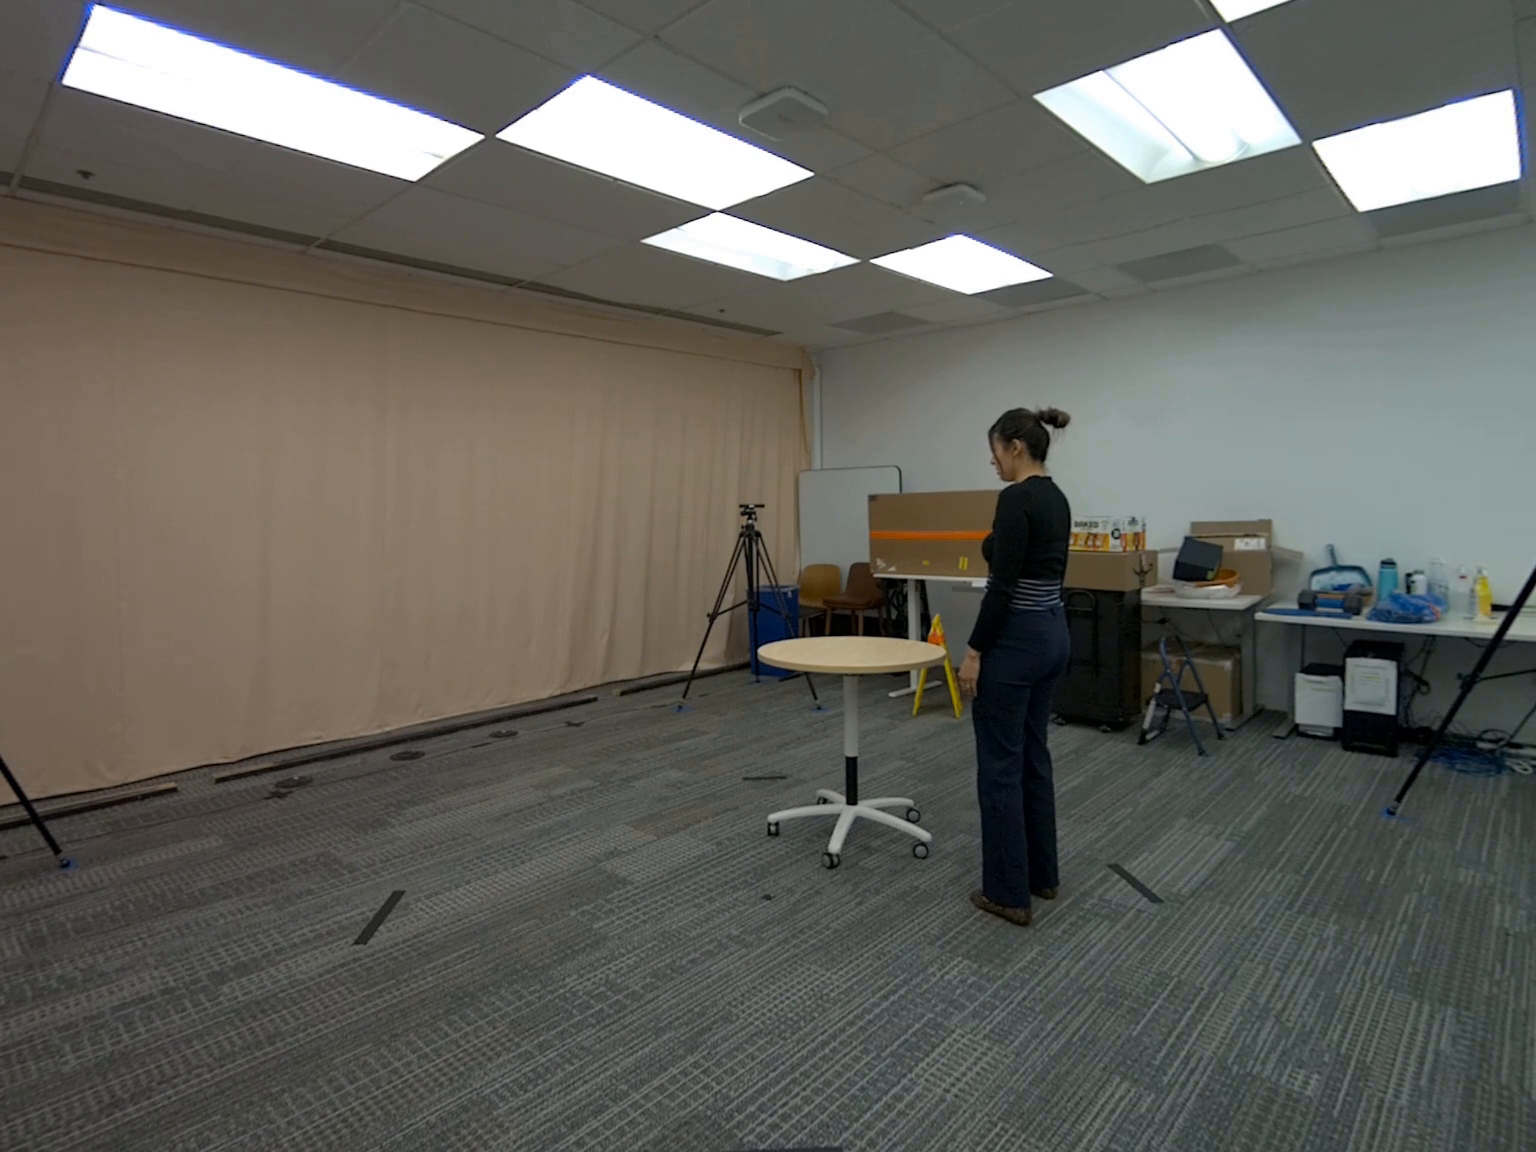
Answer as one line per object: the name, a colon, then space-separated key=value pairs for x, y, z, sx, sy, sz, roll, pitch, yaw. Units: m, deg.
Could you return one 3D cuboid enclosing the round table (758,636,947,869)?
round table: x=0.350 y=0.700 z=3.490 sx=0.763 sy=0.792 sz=0.766 roll=-1 pitch=3 yaw=-2
